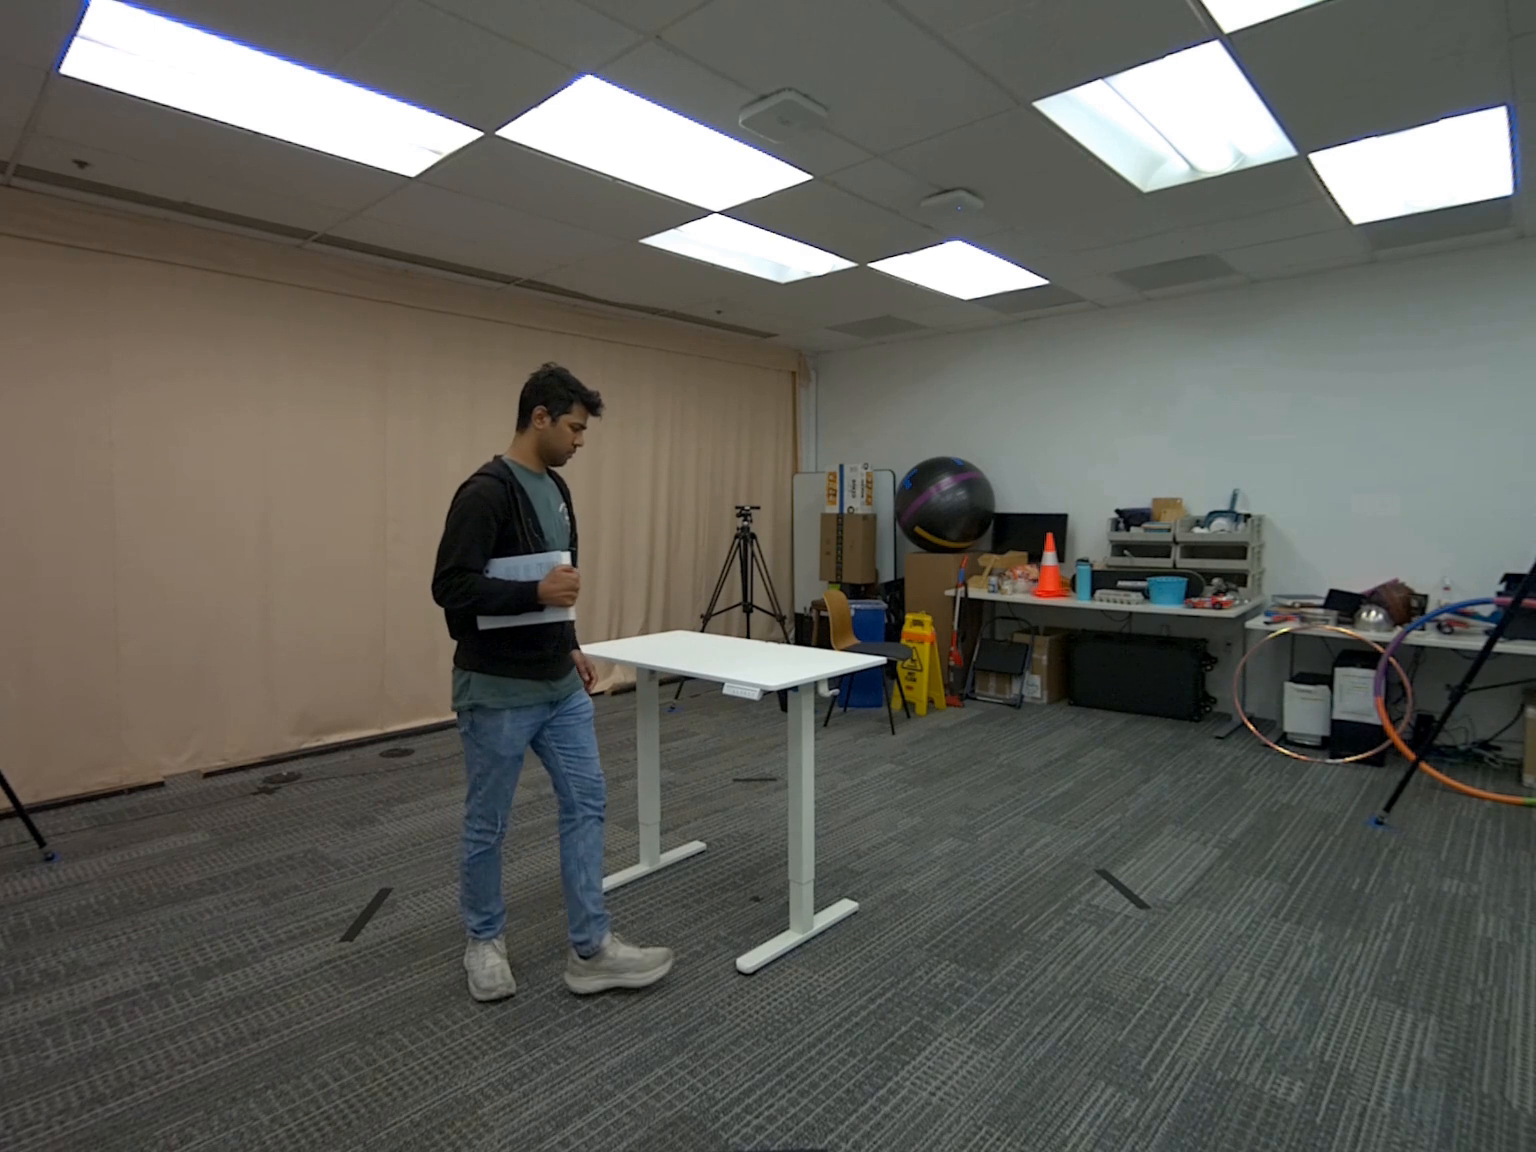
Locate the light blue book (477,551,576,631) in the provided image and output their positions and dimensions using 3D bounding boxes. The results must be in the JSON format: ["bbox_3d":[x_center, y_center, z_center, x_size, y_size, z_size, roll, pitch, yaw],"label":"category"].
[{"bbox_3d":[-0.666,0.038,2.291,0.262,0.191,0.058,-6,-2,5],"label":"light blue book"}]
